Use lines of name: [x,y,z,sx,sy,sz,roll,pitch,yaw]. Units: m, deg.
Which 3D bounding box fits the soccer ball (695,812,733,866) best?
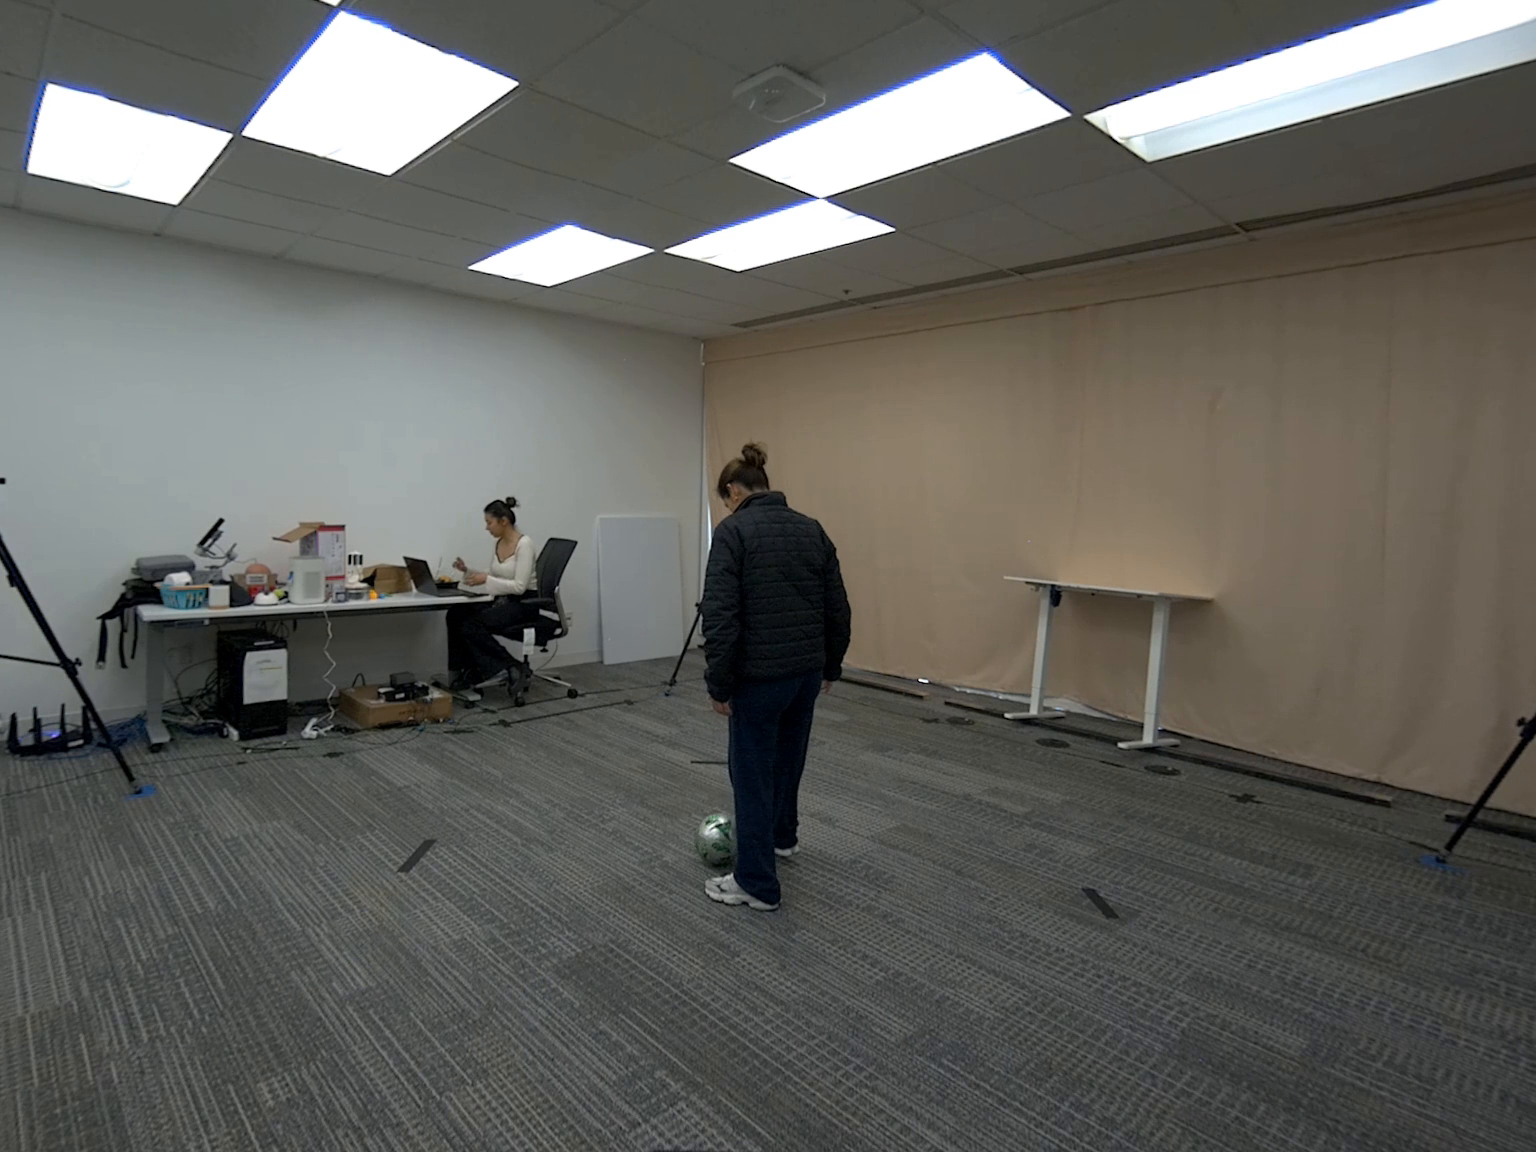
soccer ball: [-0.186,0.994,3.207,0.187,0.187,0.188,1,4,-1]
